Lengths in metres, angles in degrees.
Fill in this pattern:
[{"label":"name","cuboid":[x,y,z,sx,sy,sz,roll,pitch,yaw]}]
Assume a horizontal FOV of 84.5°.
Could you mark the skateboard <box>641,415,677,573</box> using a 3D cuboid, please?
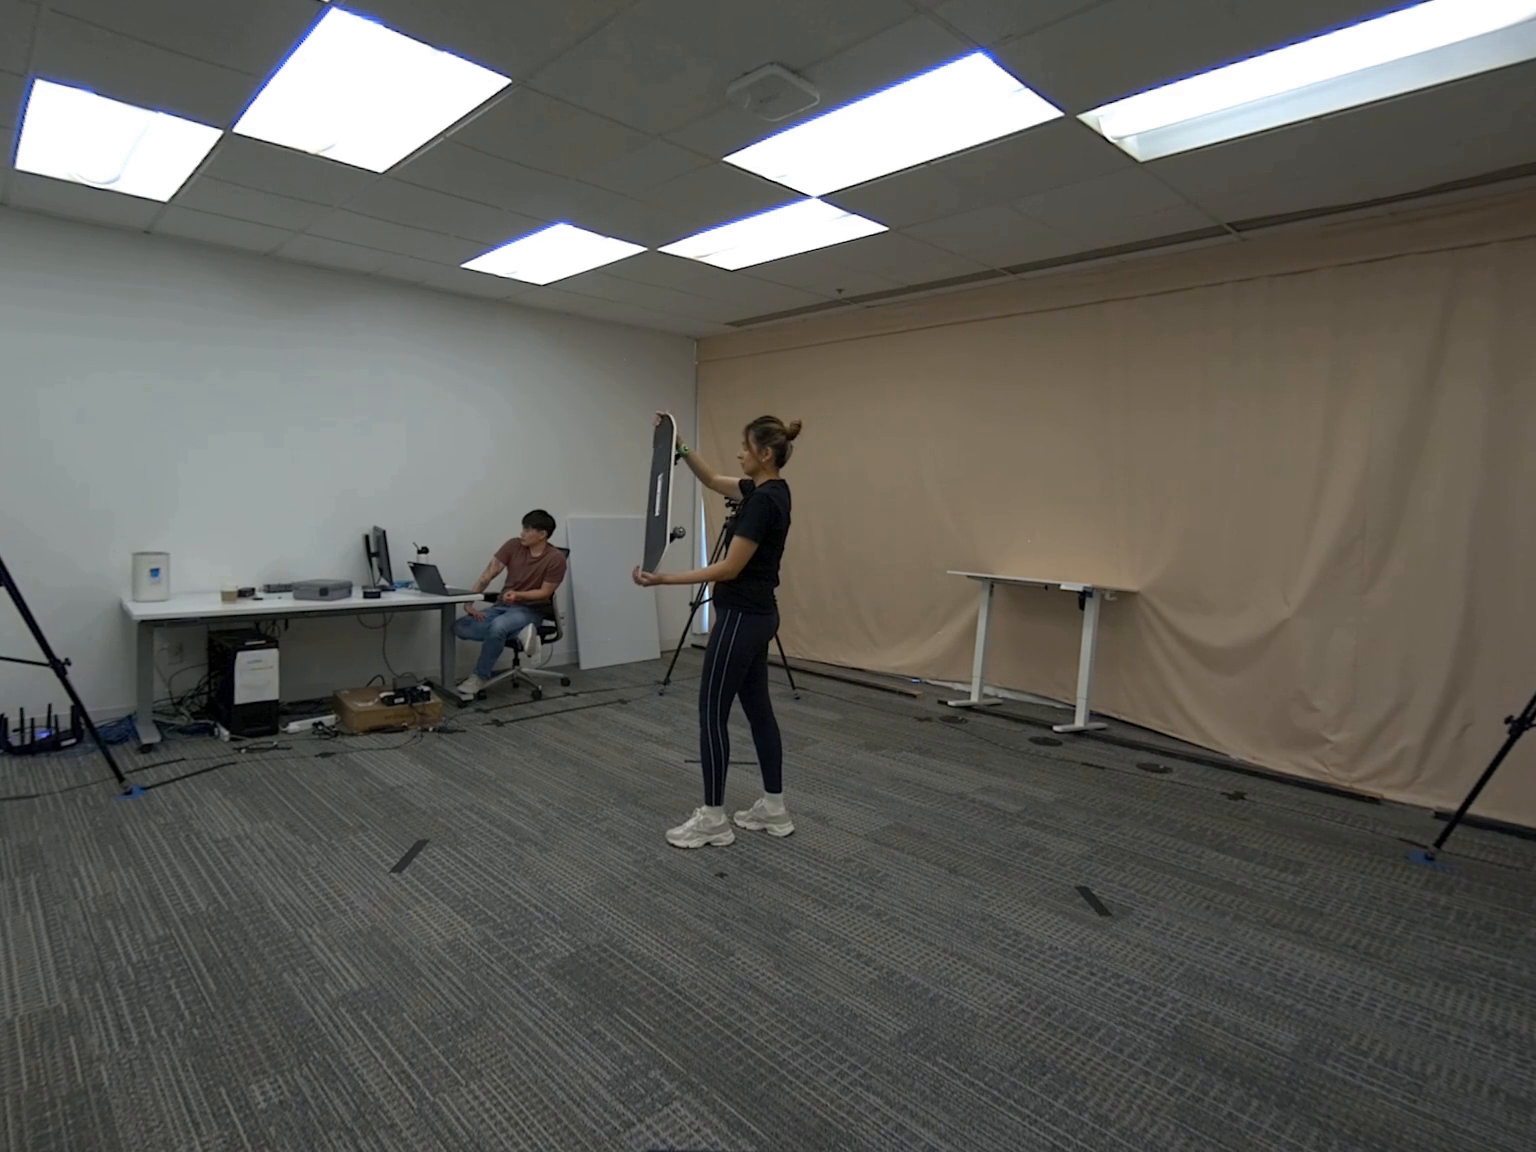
[{"label":"skateboard","cuboid":[-0.422,-0.322,3.438,0.107,0.800,0.195,18,-34,-30]}]
